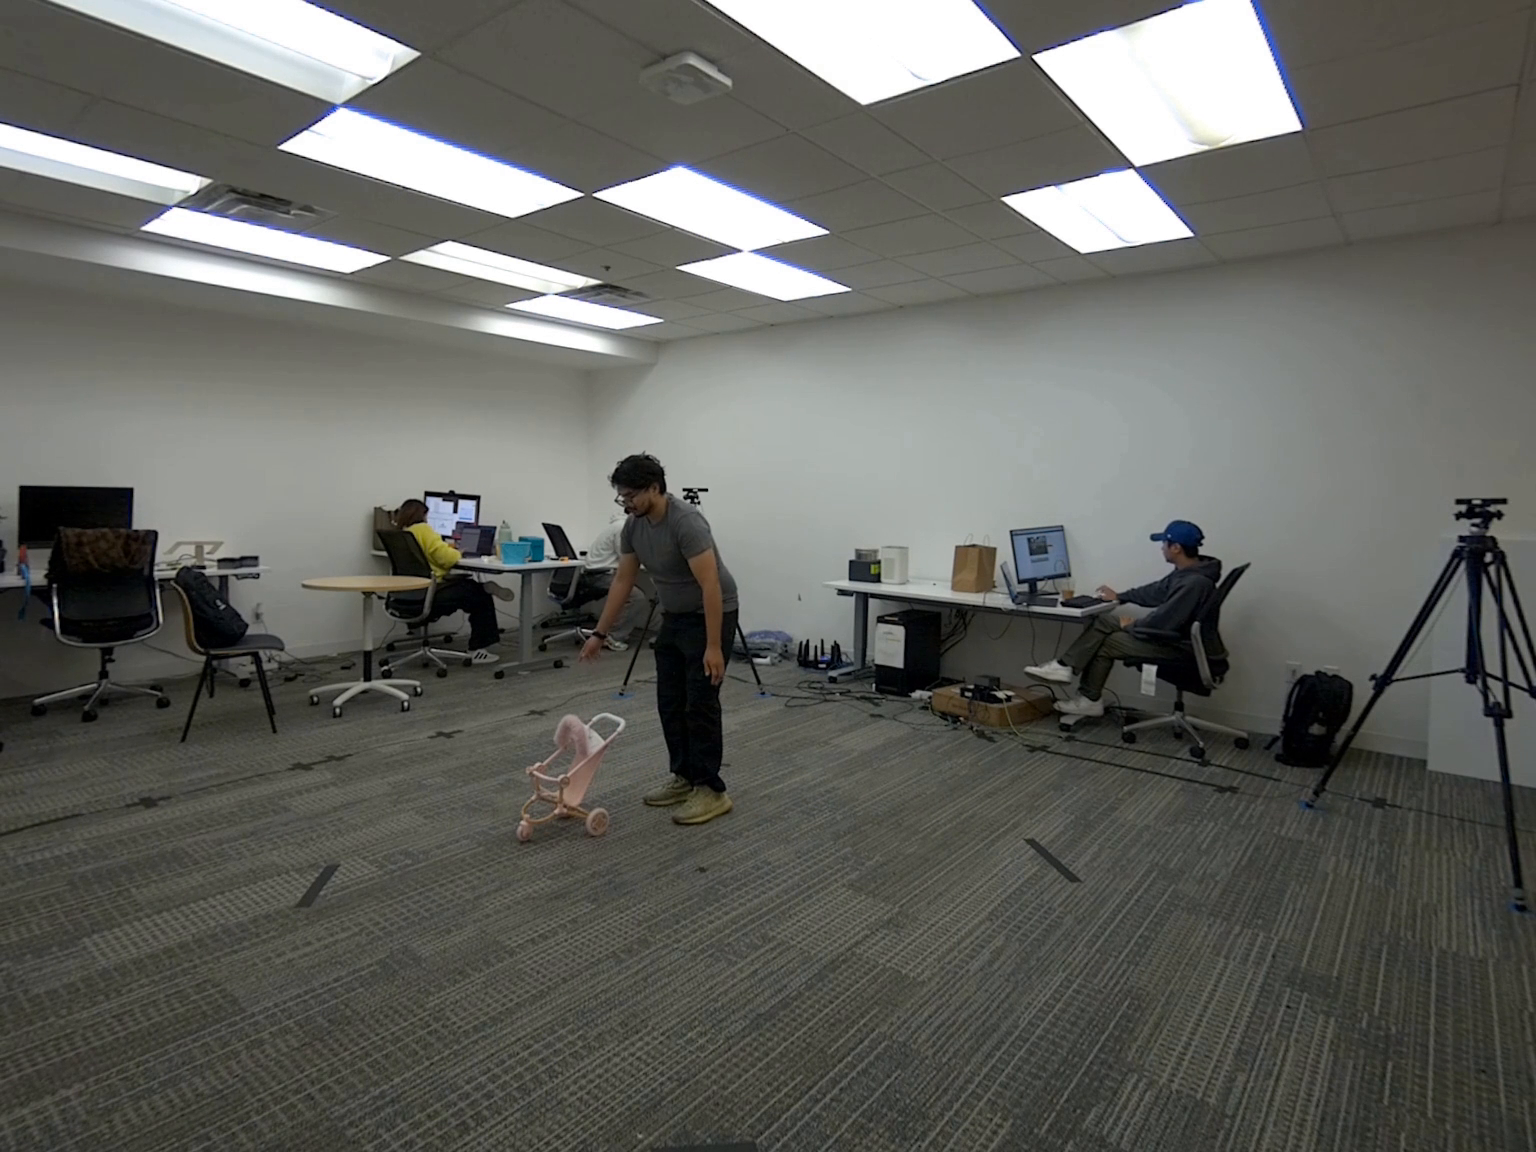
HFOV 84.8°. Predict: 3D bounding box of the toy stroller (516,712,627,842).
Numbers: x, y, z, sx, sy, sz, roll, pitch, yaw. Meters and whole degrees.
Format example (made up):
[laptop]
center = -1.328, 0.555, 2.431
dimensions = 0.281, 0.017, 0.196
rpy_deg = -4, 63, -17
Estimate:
[toy stroller]
center = -0.824, 0.803, 3.445
dimensions = 0.328, 0.537, 0.291
rpy_deg = 19, -9, -38
